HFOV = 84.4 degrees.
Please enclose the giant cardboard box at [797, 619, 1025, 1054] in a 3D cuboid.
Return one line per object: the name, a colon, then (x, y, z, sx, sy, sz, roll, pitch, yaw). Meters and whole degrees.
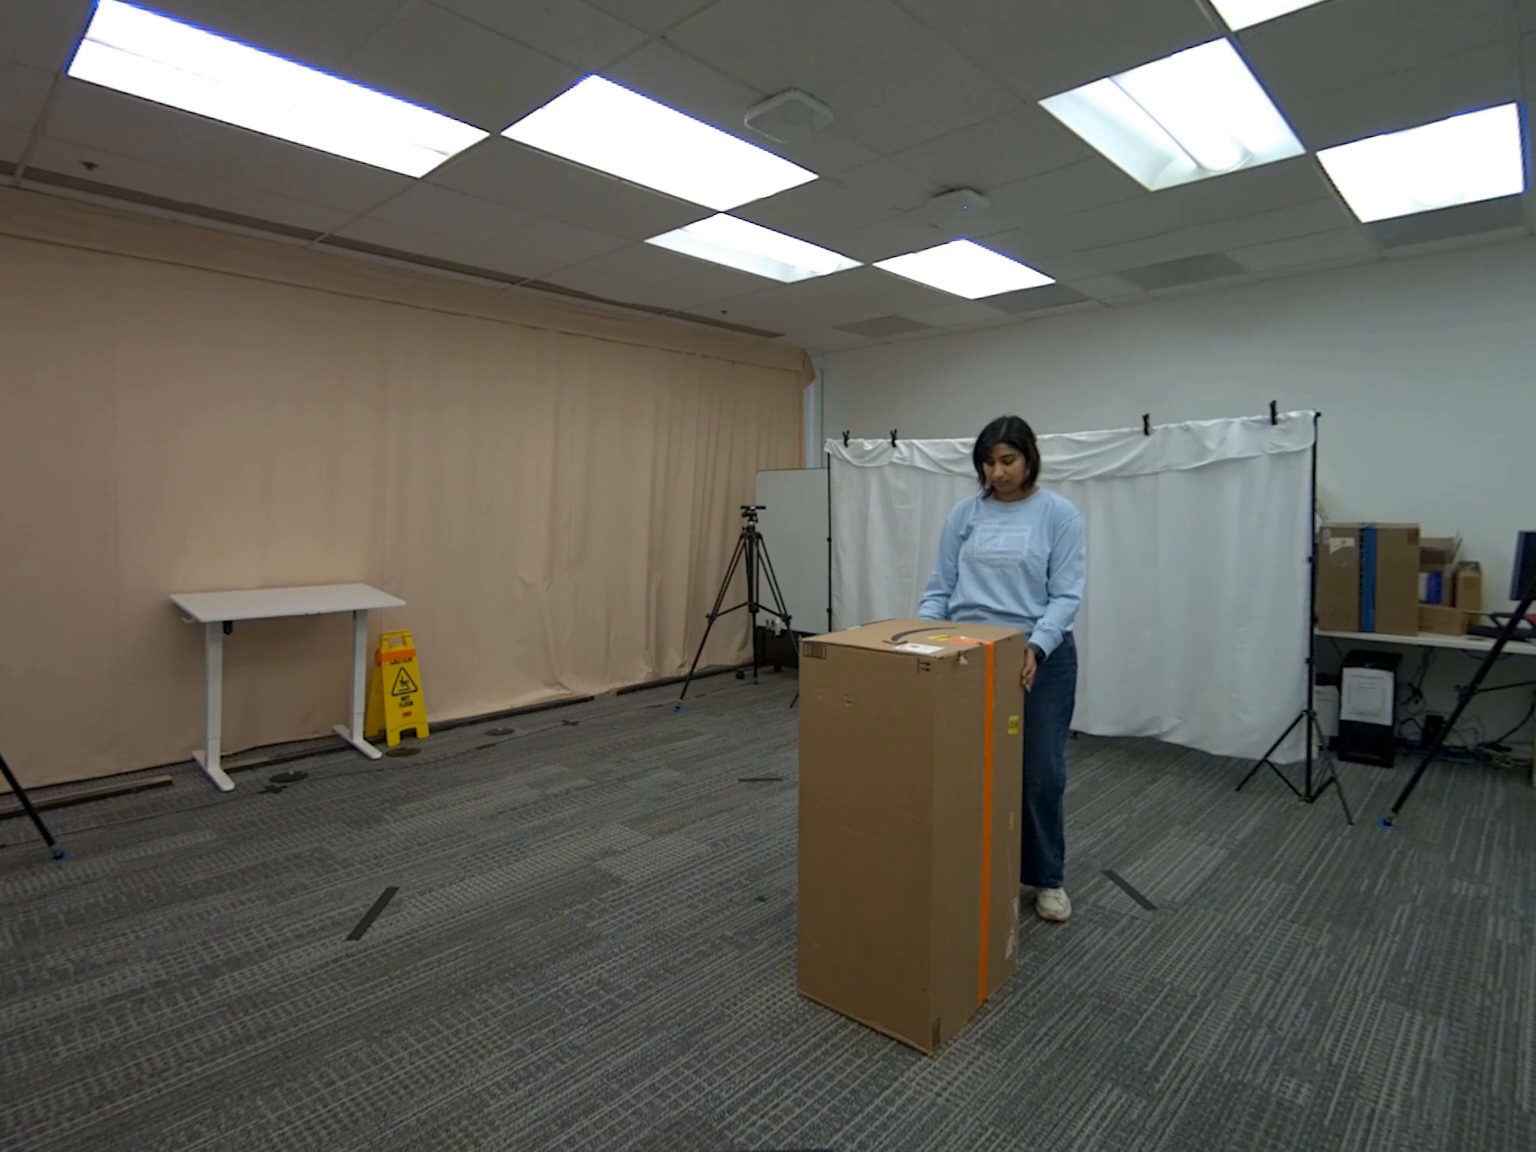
giant cardboard box: (0.427, 0.682, 2.445, 0.440, 1.024, 0.560, 3, 4, 39)
